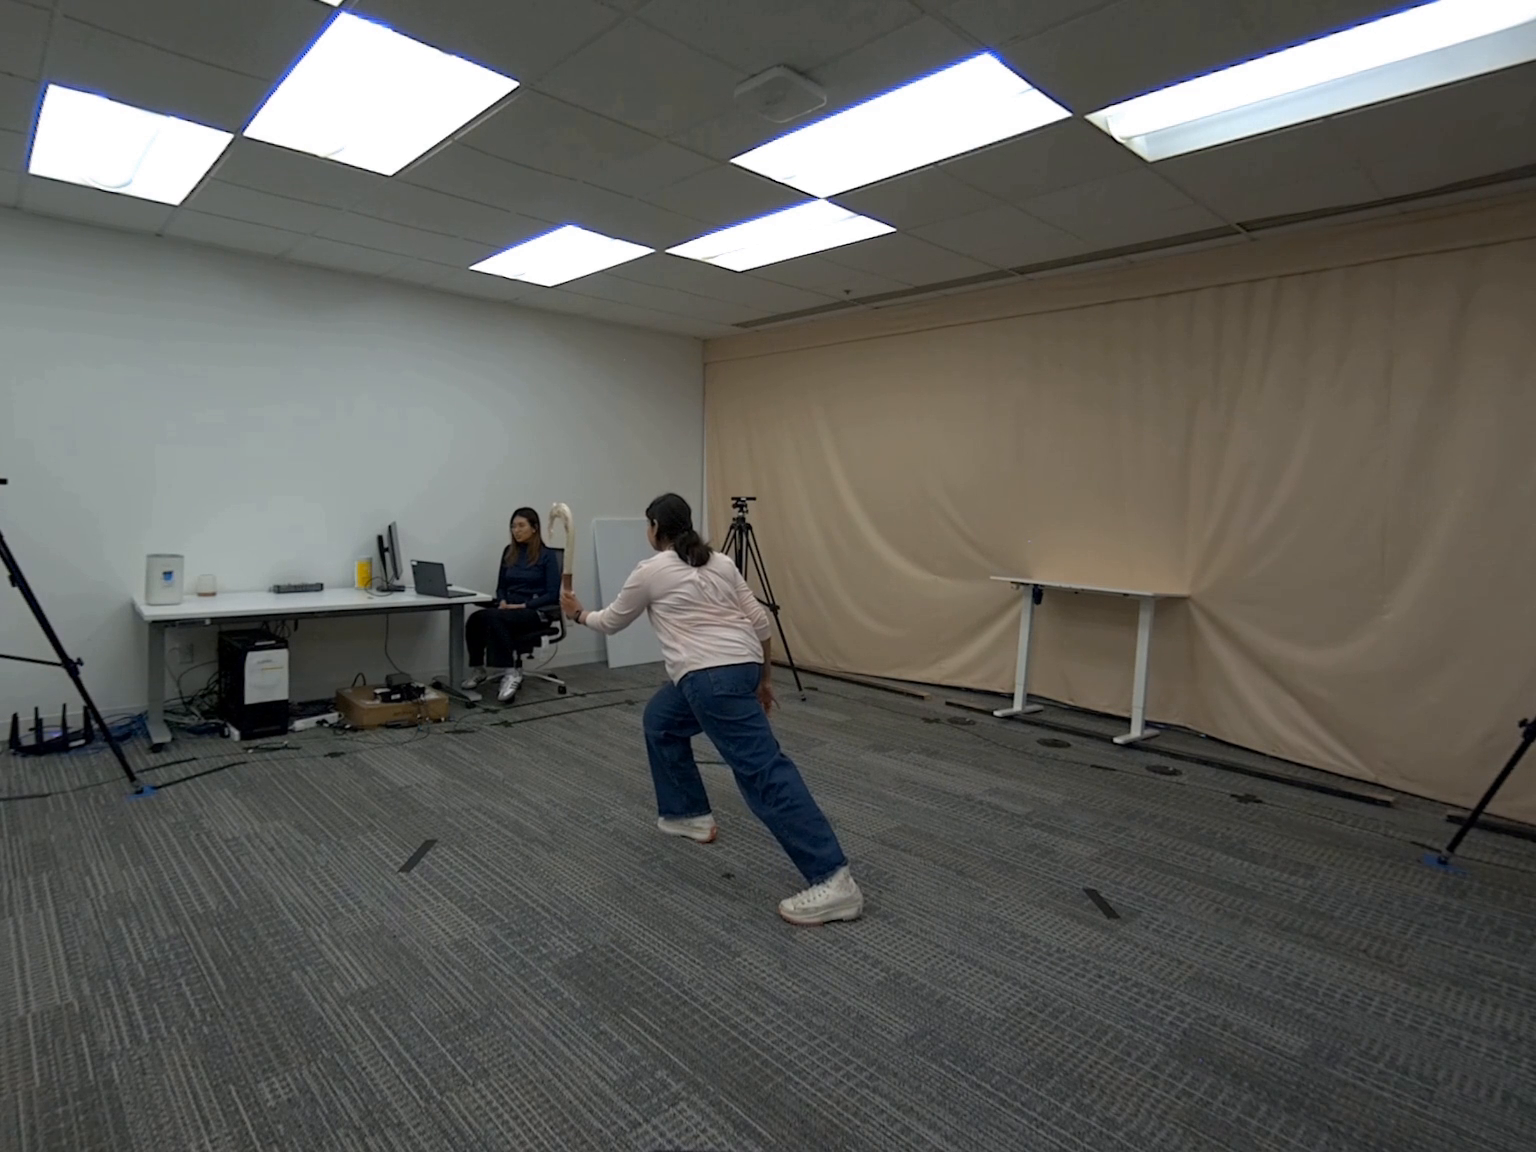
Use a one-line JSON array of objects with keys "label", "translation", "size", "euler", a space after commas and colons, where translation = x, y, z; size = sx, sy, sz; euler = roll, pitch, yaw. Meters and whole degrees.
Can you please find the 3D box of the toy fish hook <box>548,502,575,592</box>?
[{"label": "toy fish hook", "translation": [-0.924, -0.067, 3.751], "size": [0.047, 0.504, 0.230], "euler": [-5, 6, -37]}]
